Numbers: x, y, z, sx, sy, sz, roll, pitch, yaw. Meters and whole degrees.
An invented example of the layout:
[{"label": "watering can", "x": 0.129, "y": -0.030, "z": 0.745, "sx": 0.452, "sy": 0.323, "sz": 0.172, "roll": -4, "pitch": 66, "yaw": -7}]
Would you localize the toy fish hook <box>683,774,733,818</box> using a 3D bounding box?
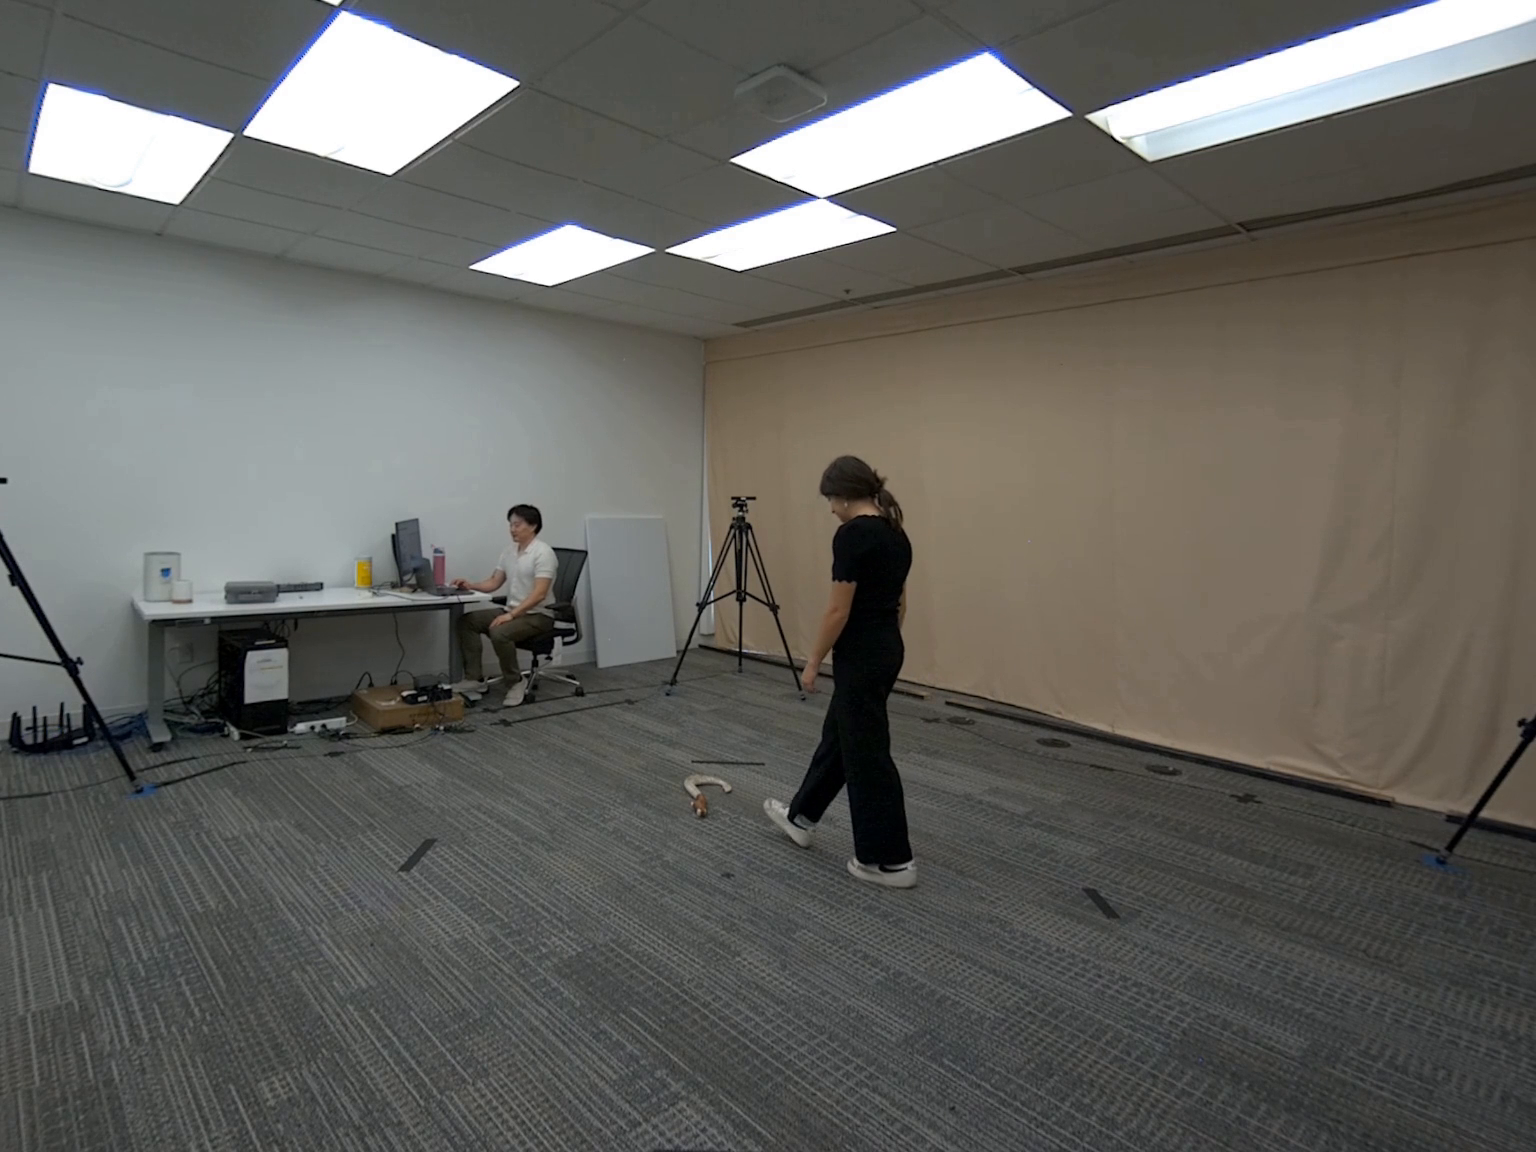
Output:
[{"label": "toy fish hook", "x": -0.280, "y": 1.010, "z": 3.901, "sx": 0.223, "sy": 0.048, "sz": 0.511, "roll": 0, "pitch": 5, "yaw": -7}]
